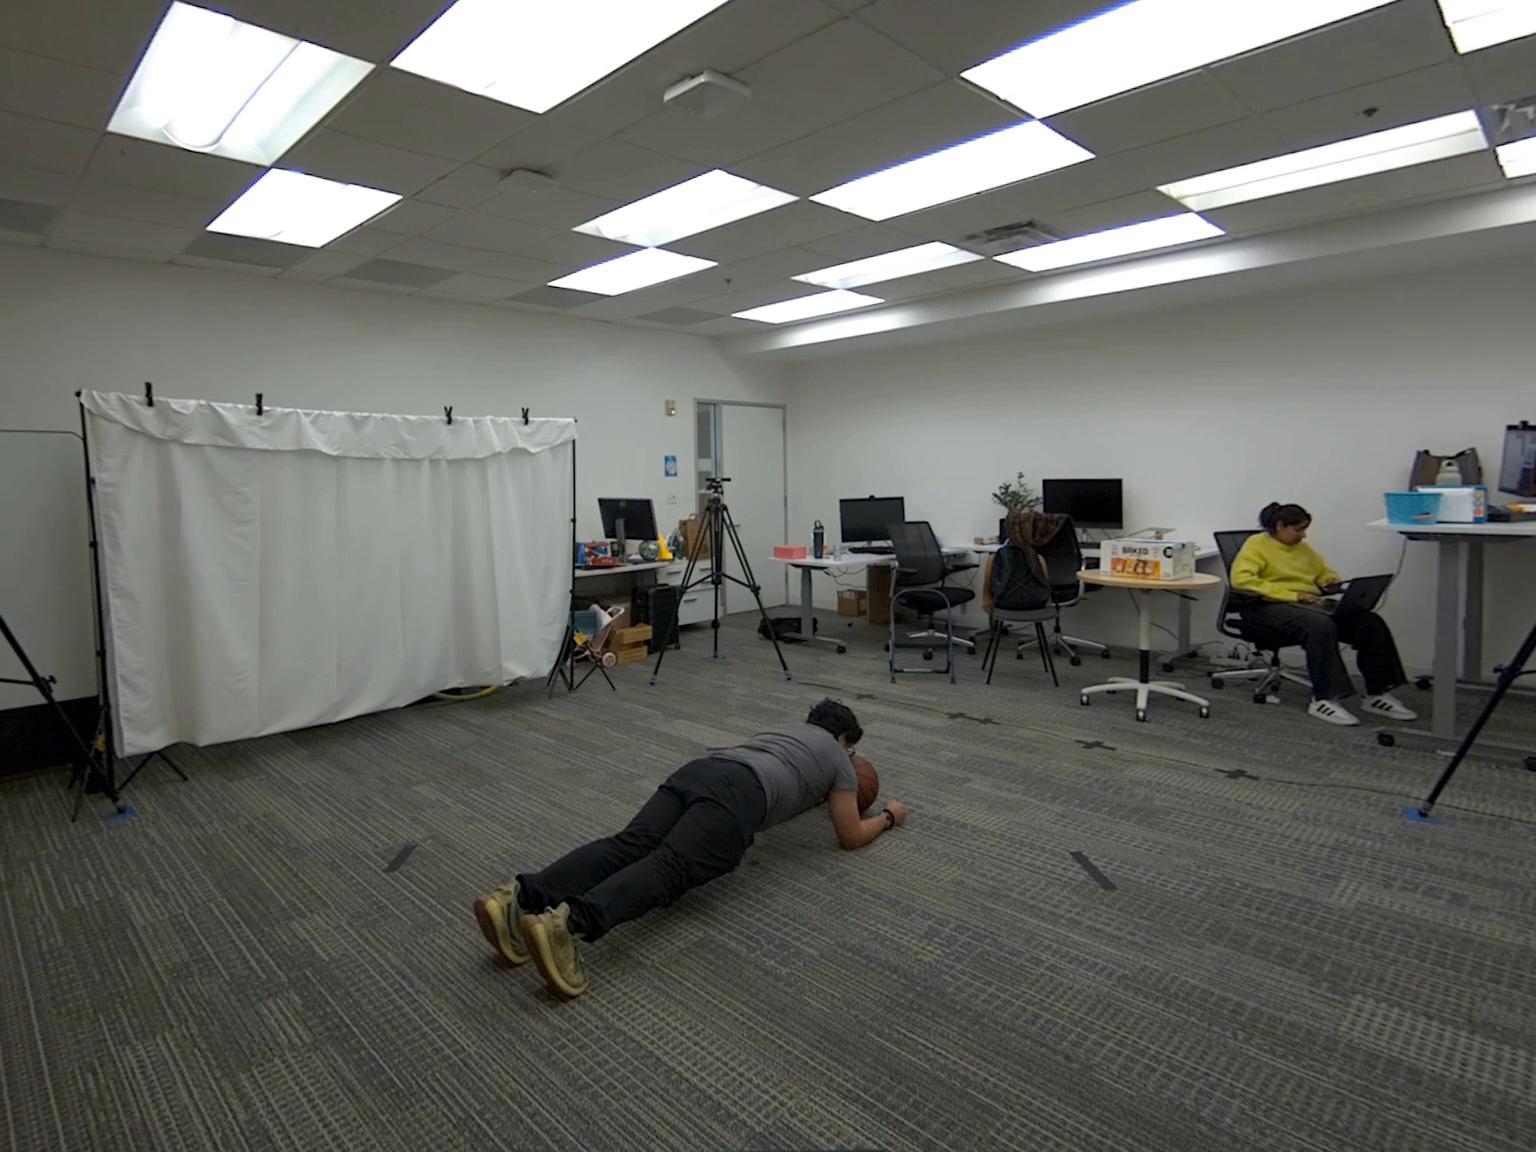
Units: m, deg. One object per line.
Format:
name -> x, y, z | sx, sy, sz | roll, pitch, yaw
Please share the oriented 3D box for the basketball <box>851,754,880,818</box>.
basketball -> 0.342, 0.864, 3.559 | 0.236, 0.235, 0.237 | -1, 5, -2
